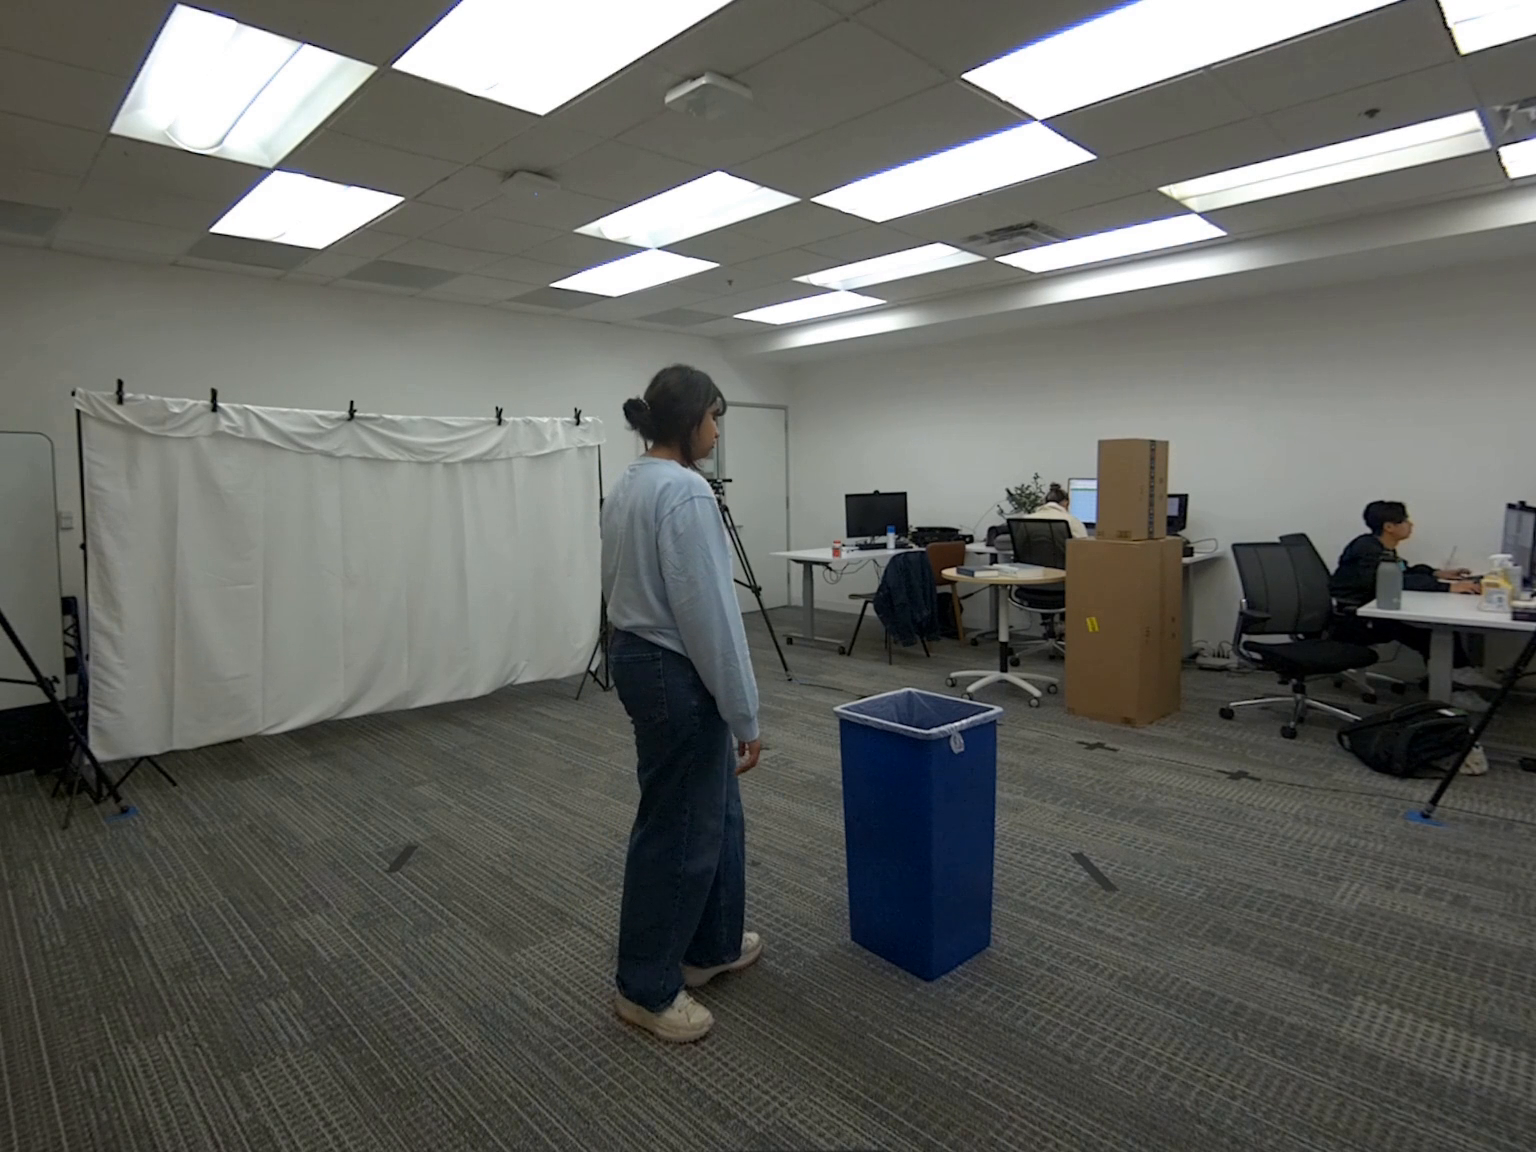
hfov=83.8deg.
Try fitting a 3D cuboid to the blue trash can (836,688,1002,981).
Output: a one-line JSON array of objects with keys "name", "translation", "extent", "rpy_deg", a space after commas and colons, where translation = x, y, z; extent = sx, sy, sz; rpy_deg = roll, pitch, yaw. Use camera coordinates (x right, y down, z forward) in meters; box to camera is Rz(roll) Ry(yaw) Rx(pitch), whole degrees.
[{"name": "blue trash can", "translation": [0.456, 0.744, 2.552], "extent": [0.364, 0.711, 0.389], "rpy_deg": [-5, 5, -41]}]
